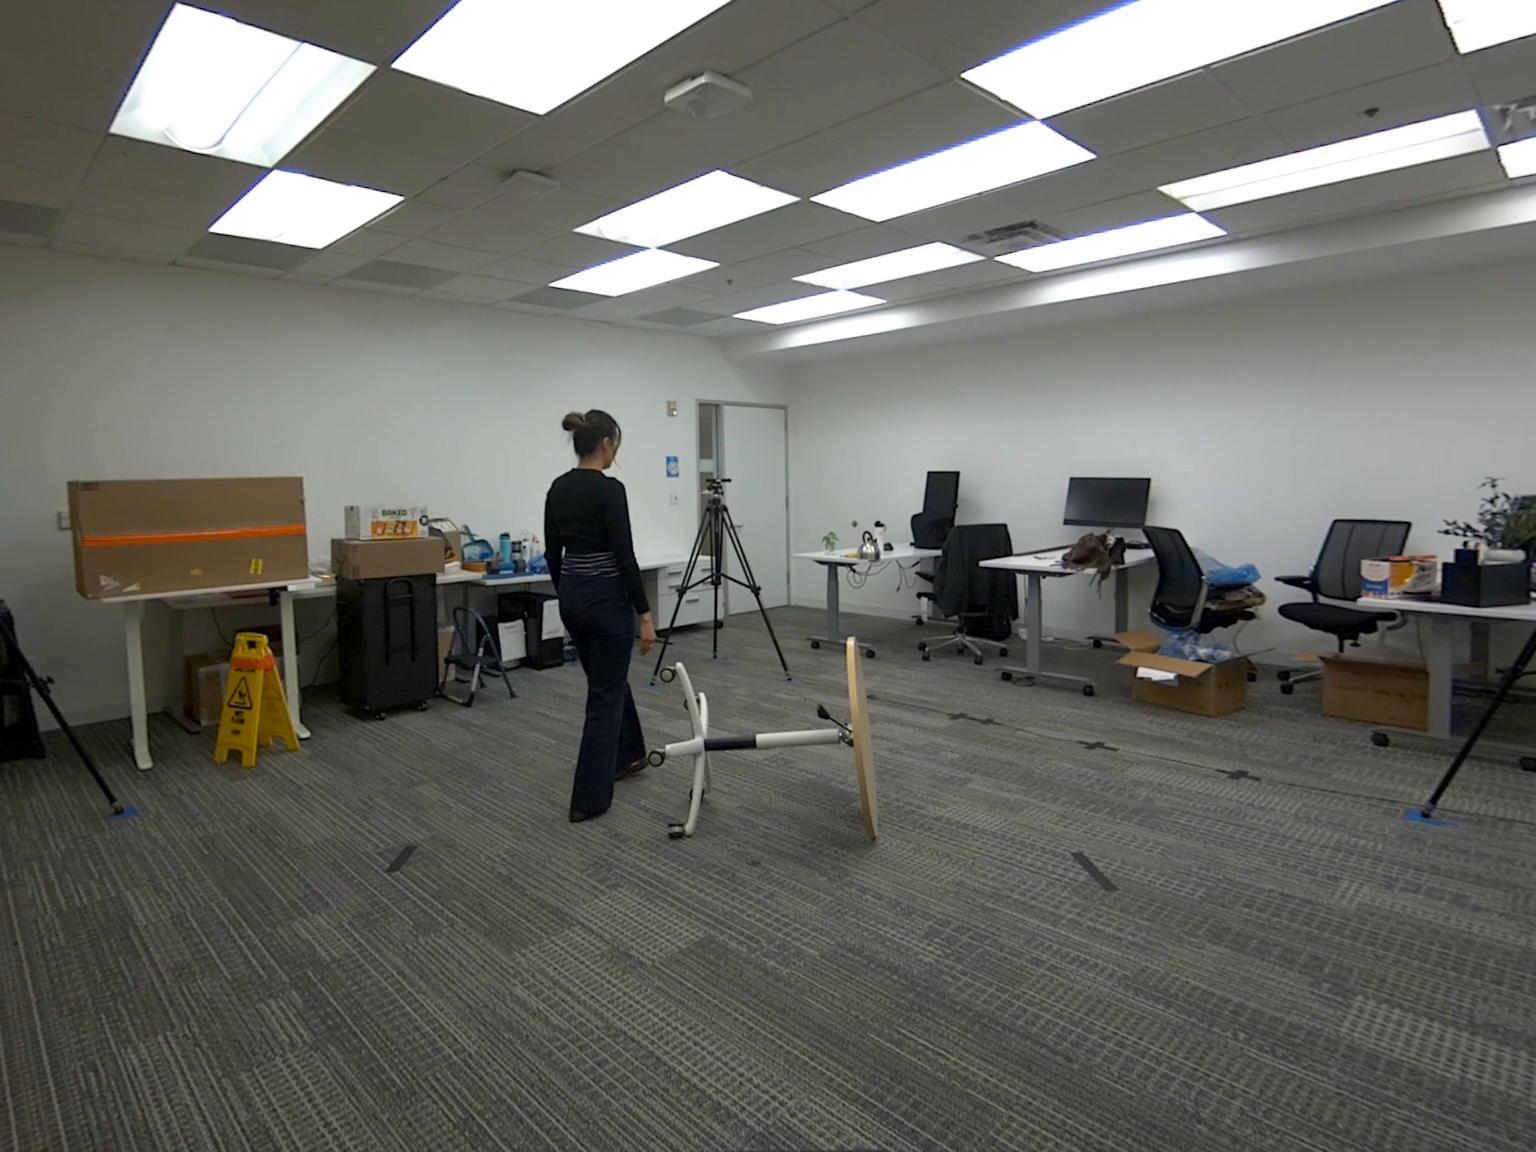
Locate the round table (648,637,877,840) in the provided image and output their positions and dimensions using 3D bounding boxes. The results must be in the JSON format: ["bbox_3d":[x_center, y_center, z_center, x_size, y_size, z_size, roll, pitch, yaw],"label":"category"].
[{"bbox_3d":[-0.004,0.664,3.447,0.801,0.762,0.760,-6,4,9],"label":"round table"}]
